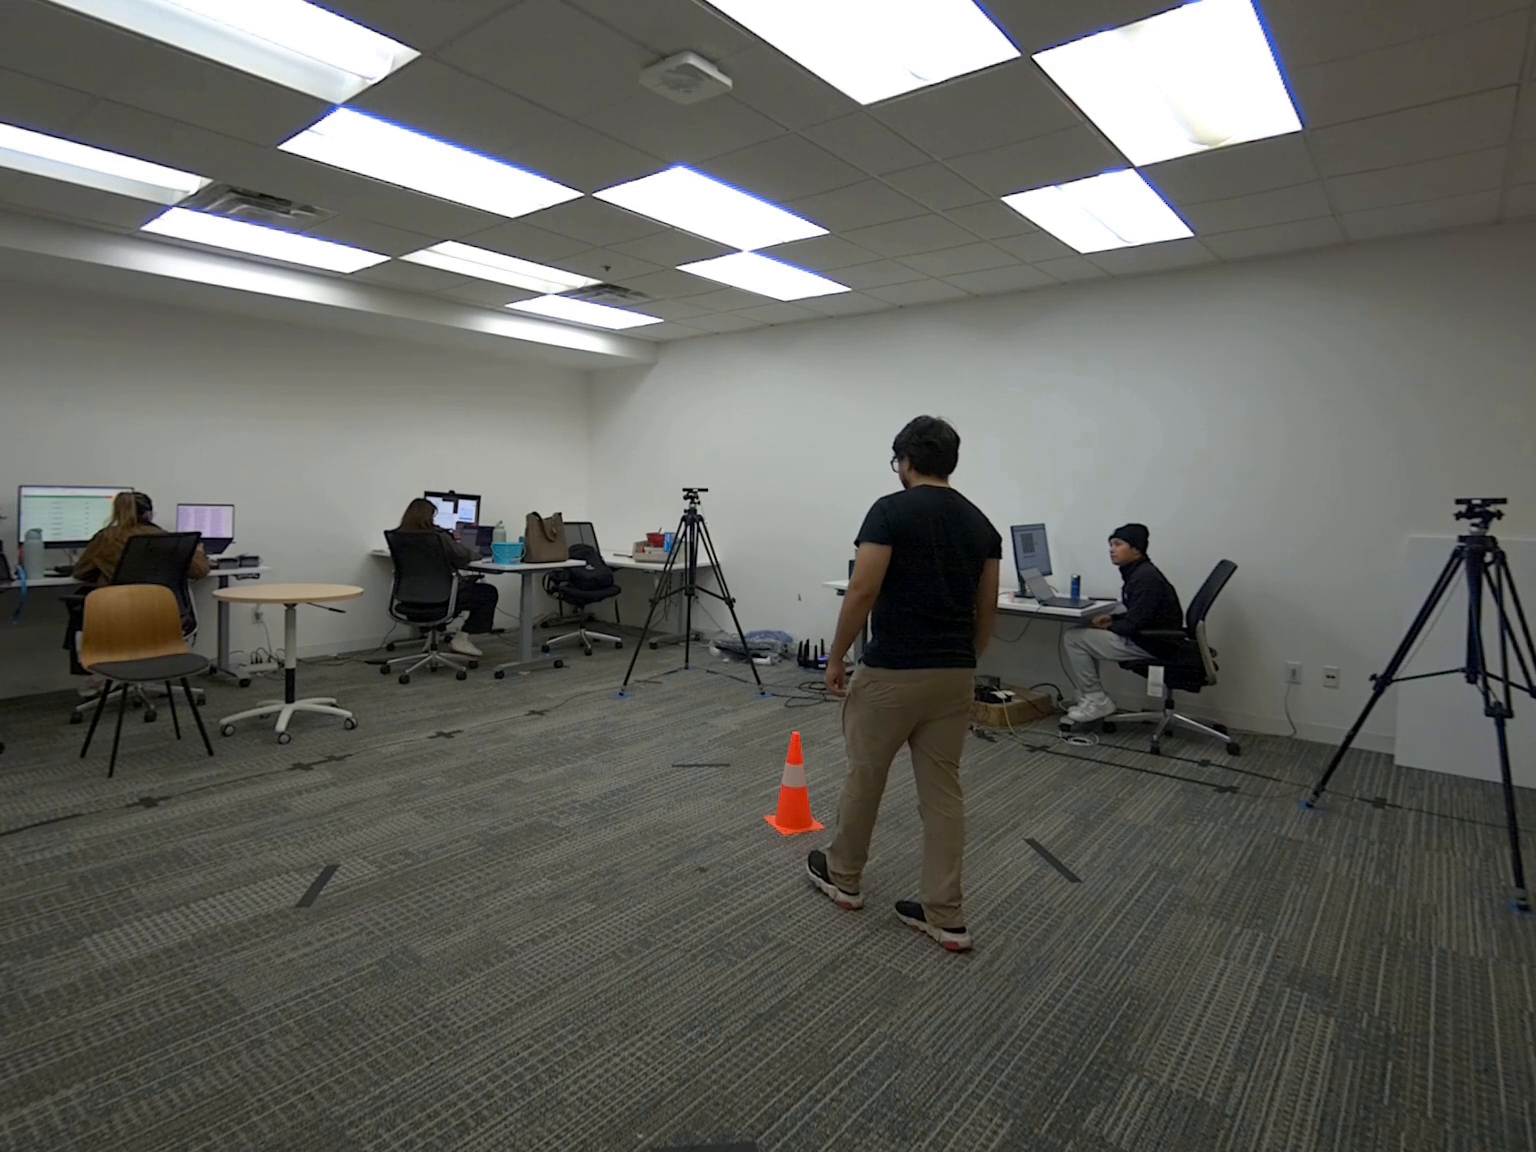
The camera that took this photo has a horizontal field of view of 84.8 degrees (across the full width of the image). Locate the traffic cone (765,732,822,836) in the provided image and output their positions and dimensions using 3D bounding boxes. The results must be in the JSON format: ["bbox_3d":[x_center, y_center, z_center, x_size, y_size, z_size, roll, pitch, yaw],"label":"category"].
[{"bbox_3d":[0.093,0.844,3.560,0.201,0.383,0.208,-2,3,-22],"label":"traffic cone"}]
